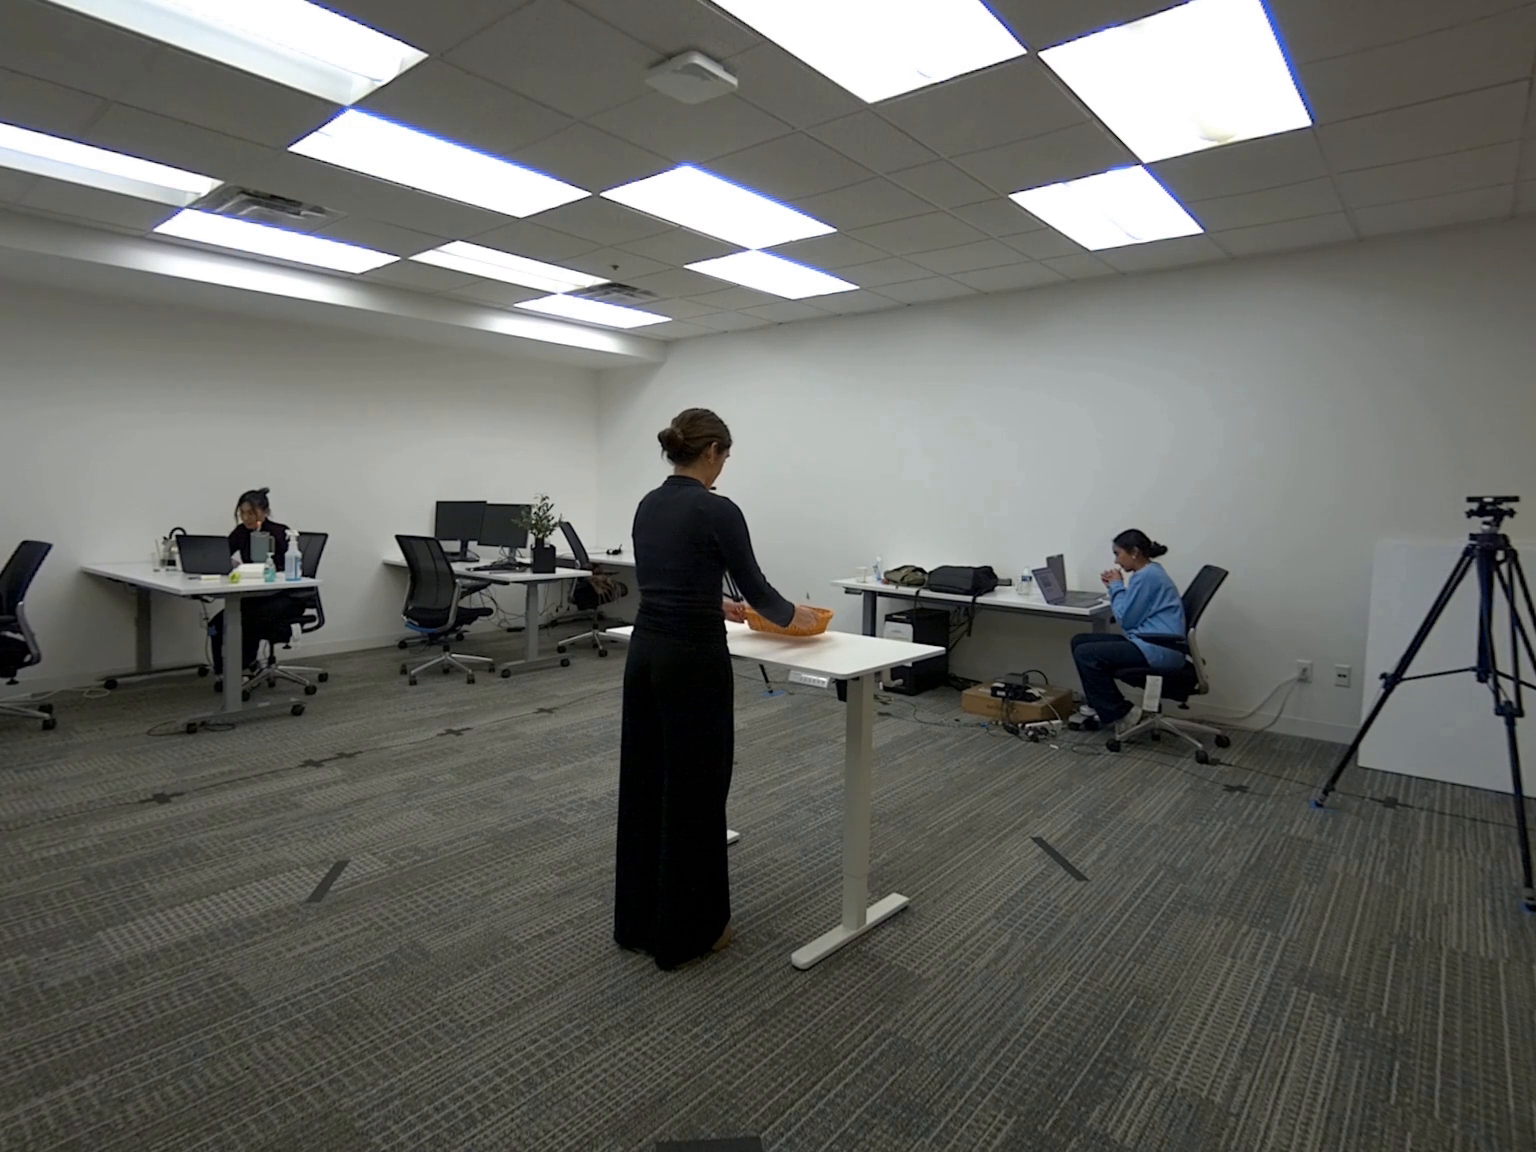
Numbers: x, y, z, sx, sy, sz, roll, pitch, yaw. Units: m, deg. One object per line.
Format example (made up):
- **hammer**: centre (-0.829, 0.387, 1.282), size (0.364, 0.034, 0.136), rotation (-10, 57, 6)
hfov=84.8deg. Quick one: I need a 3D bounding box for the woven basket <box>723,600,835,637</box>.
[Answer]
- **woven basket**: centre (0.043, 0.156, 2.904), size (0.245, 0.073, 0.362), rotation (-3, 6, -45)
